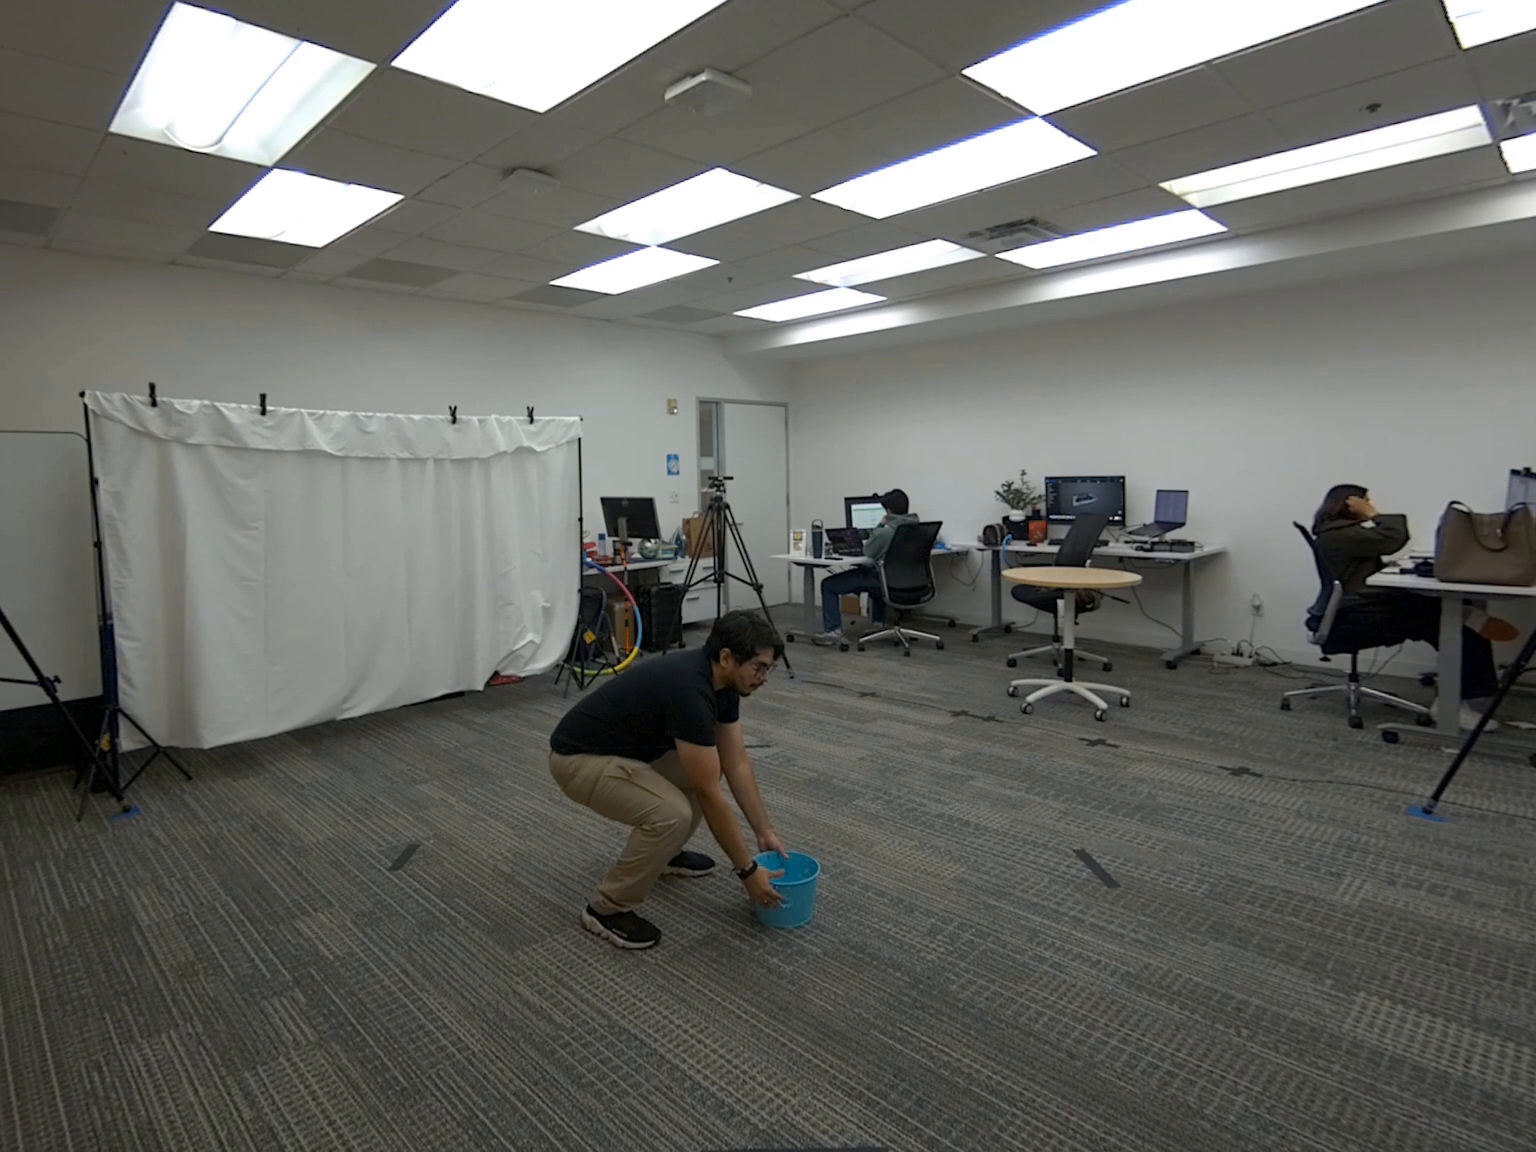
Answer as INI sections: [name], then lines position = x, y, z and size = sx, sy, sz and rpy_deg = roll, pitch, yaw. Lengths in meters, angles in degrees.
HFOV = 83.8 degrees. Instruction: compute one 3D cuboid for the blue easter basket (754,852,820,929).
[blue easter basket]
position = 0.052, 1.004, 2.727
size = 0.243, 0.155, 0.245
rpy_deg = 1, 7, -2
